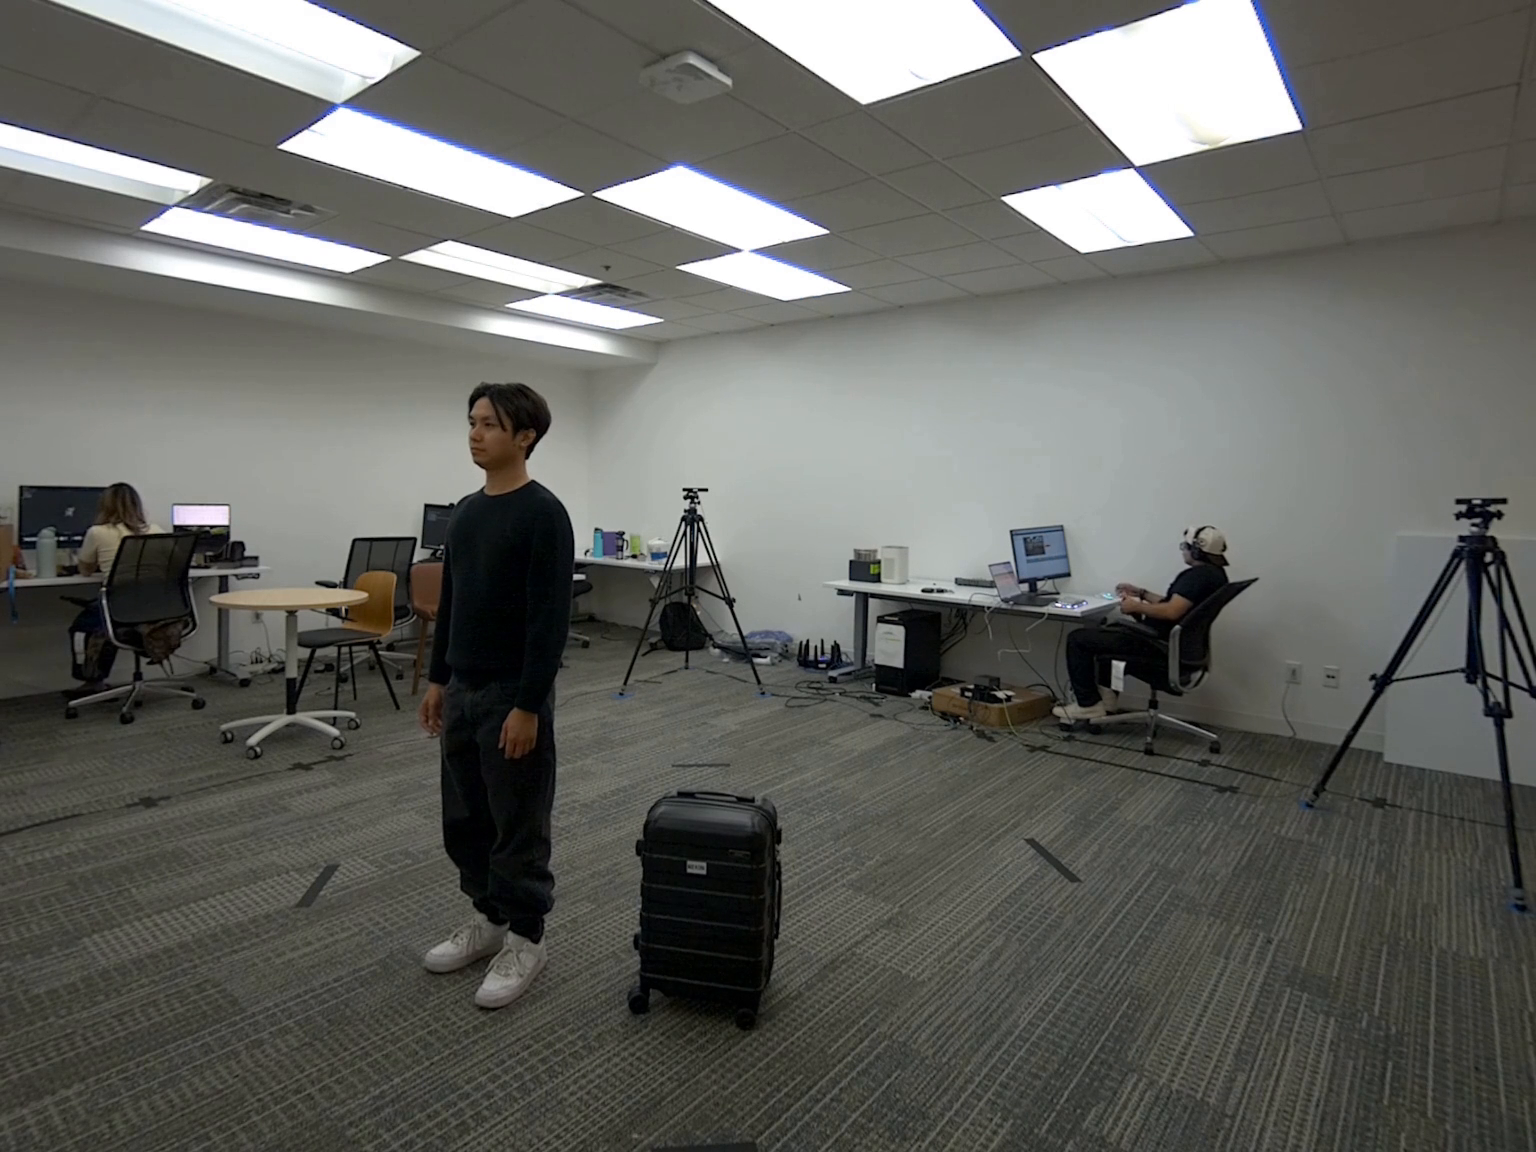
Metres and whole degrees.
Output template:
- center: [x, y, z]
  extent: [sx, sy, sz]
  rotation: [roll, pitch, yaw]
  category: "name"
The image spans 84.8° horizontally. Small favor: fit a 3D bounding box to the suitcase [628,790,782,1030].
- center: [-0.166, 0.880, 2.313]
  extent: [0.380, 0.548, 0.246]
  rotation: [3, 3, 10]
  category: "suitcase"
